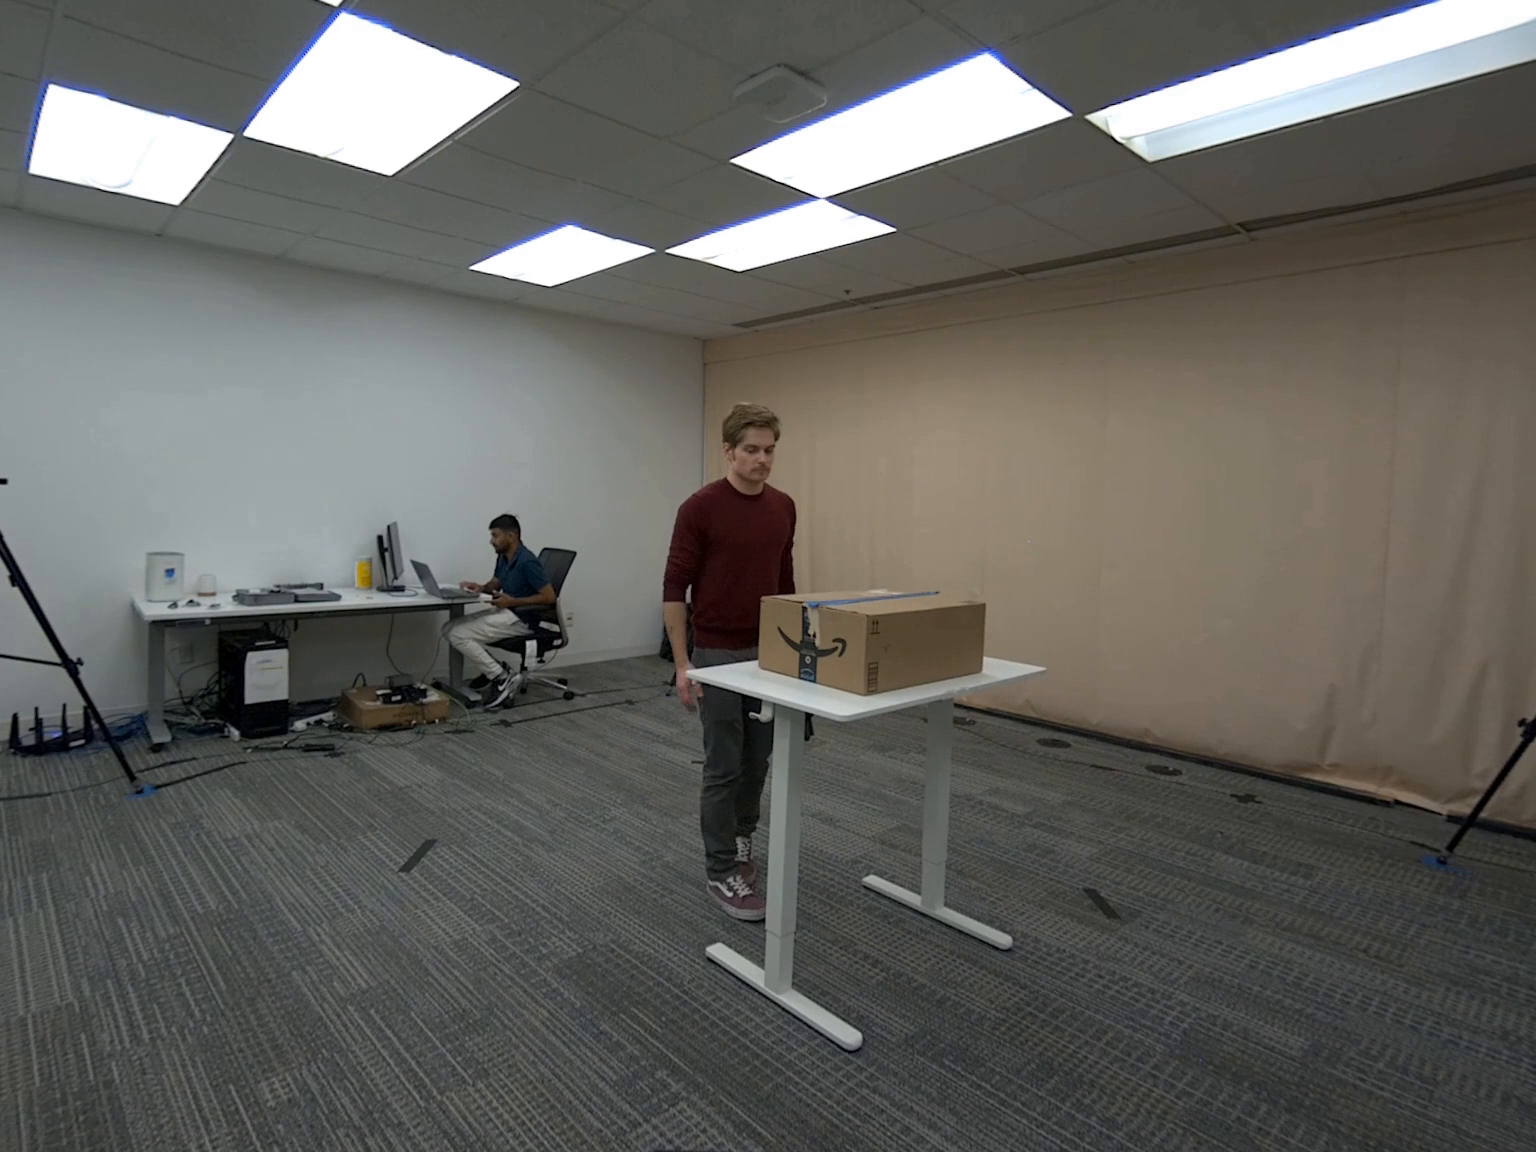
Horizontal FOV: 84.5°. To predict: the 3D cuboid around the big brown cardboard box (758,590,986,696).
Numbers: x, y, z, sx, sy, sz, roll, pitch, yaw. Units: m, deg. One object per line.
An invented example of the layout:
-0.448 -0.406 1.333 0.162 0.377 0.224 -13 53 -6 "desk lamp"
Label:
0.314 0.176 2.542 0.576 0.232 0.428 -4 8 -43 "big brown cardboard box"
